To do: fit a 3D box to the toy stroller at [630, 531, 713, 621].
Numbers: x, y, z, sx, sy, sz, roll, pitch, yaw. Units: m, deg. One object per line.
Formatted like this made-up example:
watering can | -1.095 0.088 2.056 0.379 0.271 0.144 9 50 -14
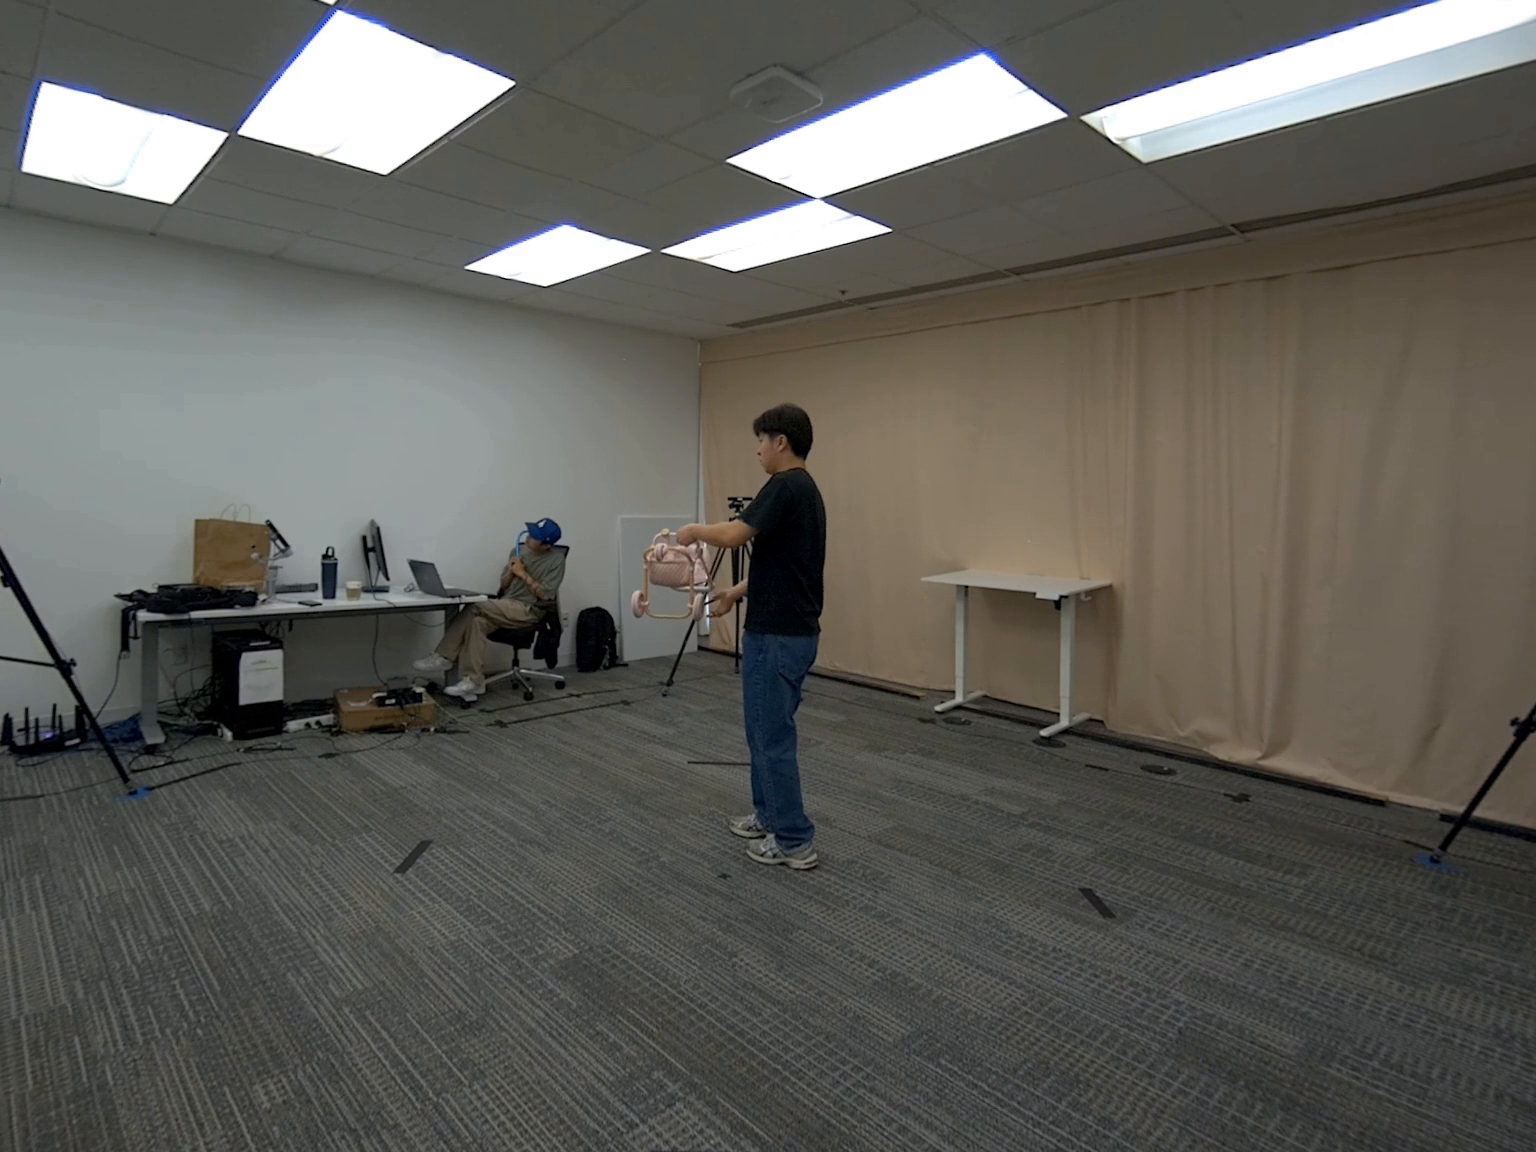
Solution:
toy stroller | -0.375 -0.022 3.442 0.284 0.337 0.536 -1 16 12
